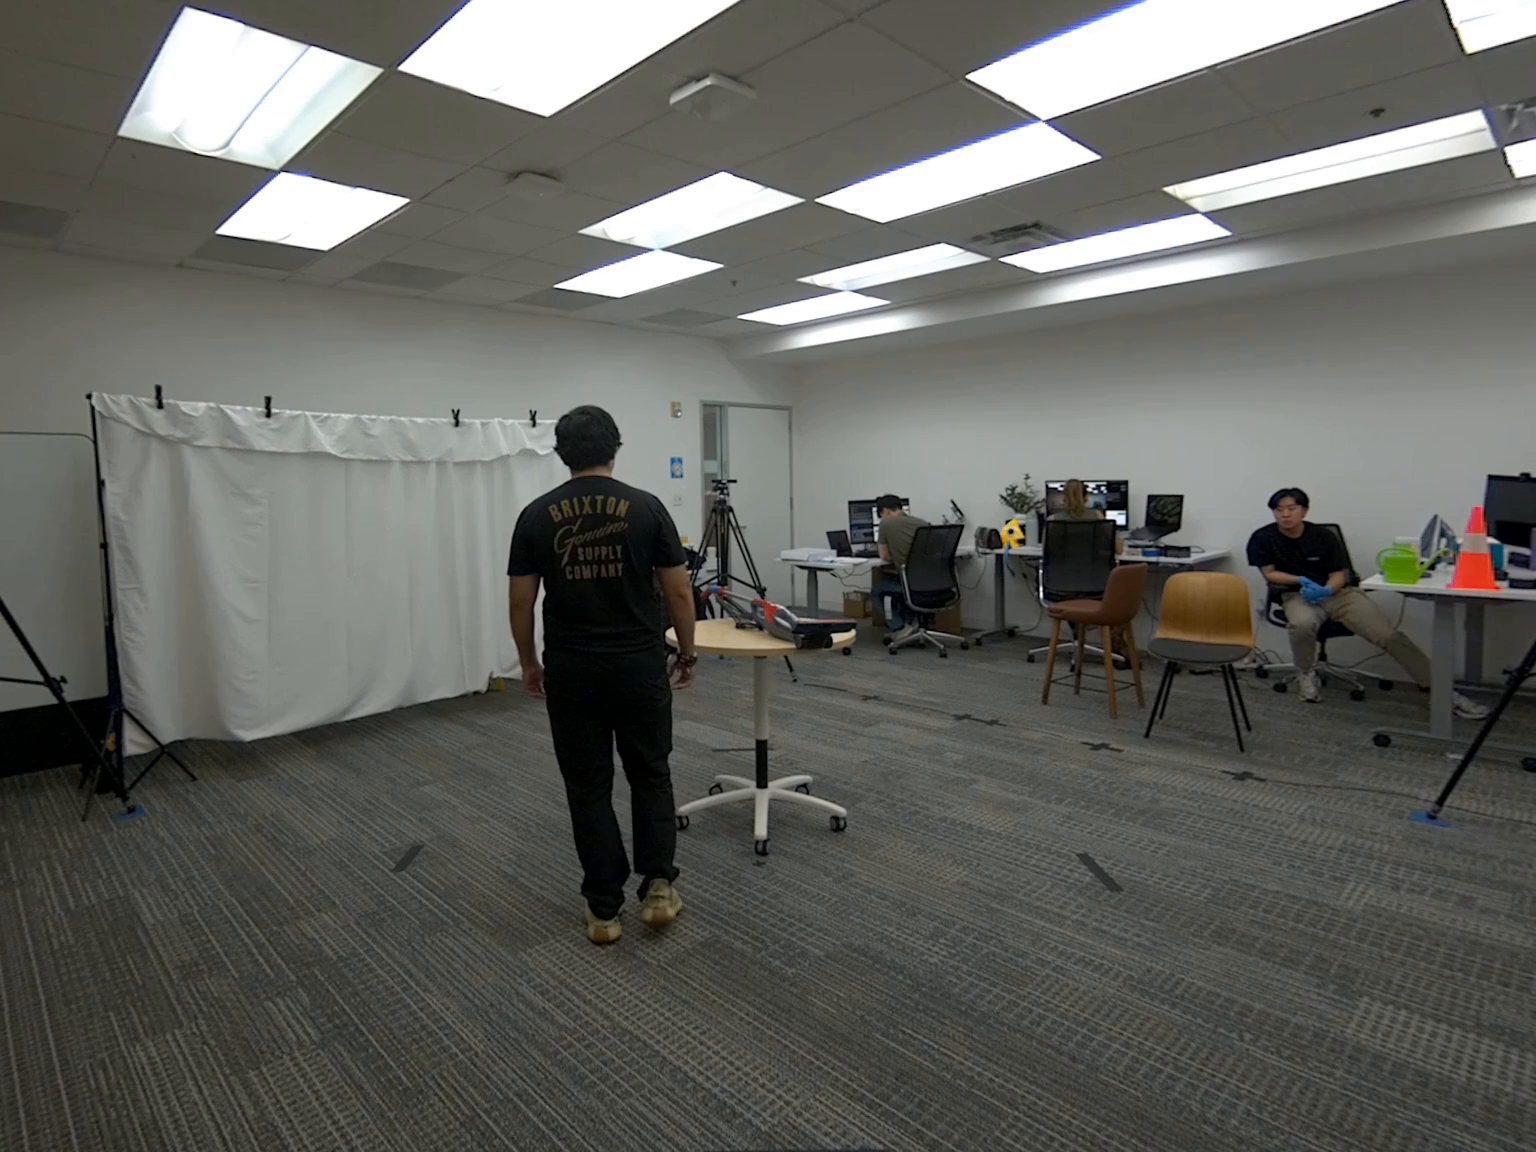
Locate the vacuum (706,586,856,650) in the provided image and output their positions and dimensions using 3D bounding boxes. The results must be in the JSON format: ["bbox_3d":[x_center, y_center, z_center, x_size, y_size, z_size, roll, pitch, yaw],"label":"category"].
[{"bbox_3d":[-0.058,0.166,3.540,0.247,0.143,1.077,2,5,-27],"label":"vacuum"}]
